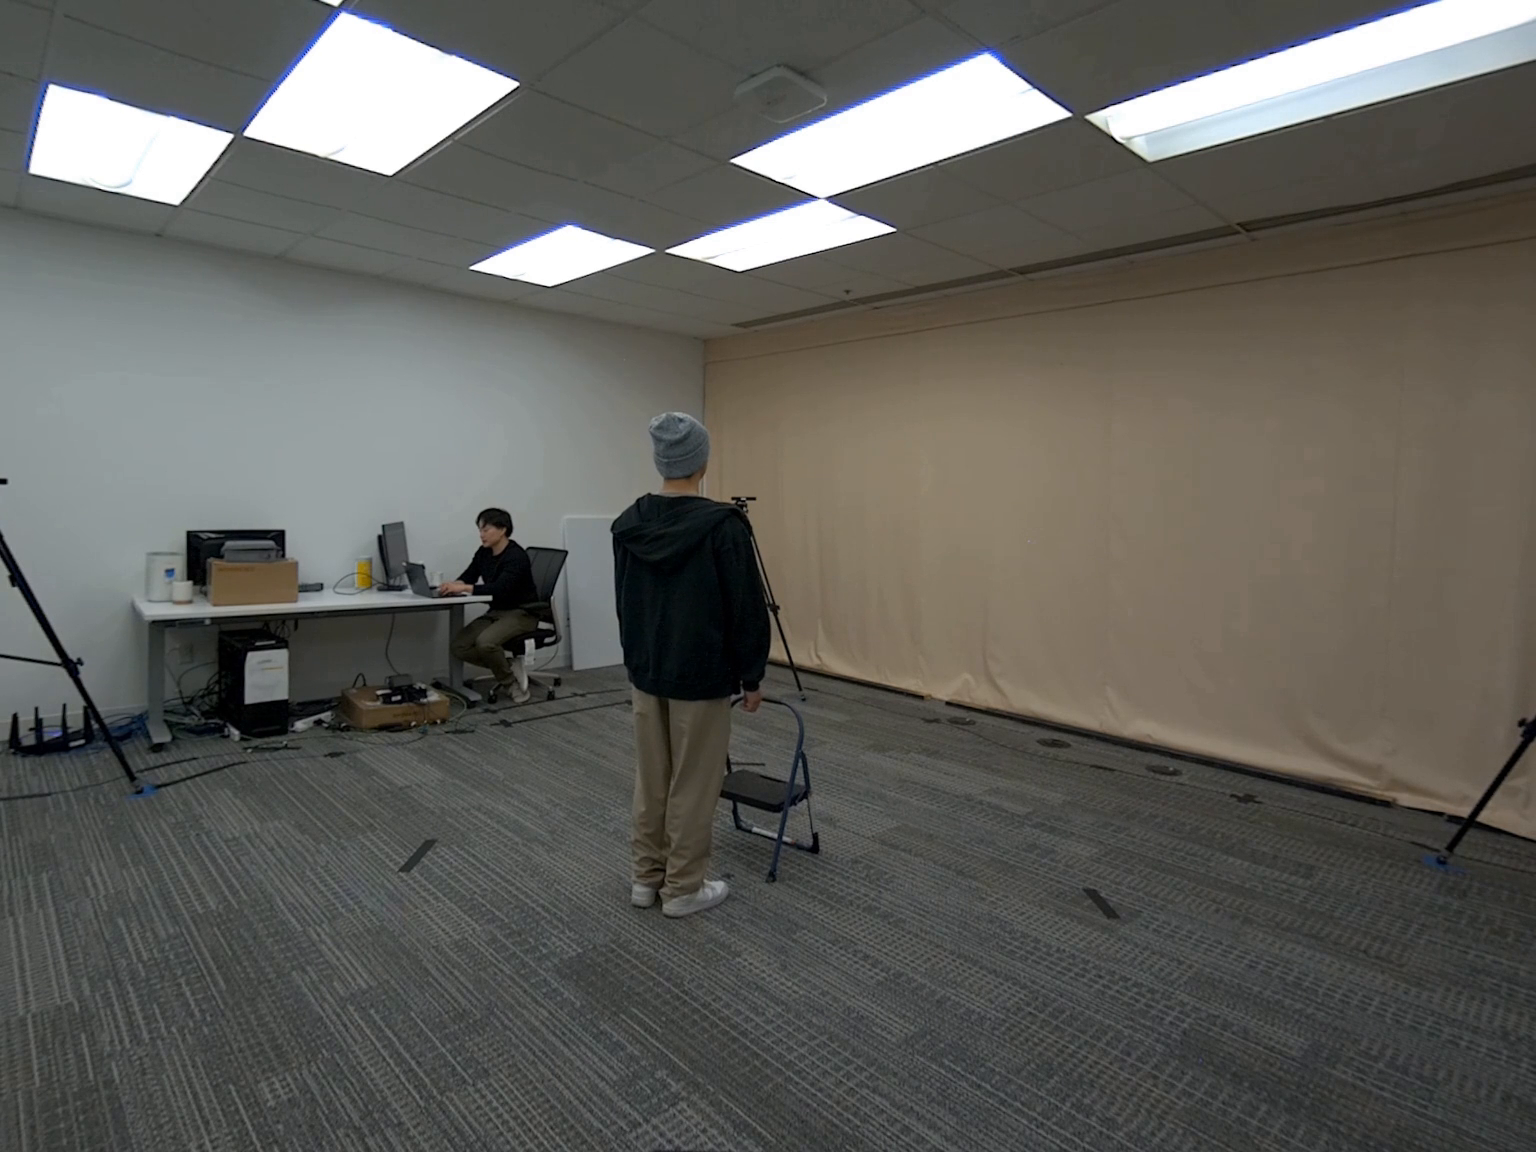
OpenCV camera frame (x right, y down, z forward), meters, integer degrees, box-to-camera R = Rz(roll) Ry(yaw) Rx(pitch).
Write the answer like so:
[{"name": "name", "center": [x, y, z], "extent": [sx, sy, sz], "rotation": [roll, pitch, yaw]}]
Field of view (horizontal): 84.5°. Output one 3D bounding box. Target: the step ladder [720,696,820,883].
[{"name": "step ladder", "center": [-0.055, 0.789, 3.306], "extent": [0.441, 0.604, 0.342], "rotation": [4, 5, 36]}]
